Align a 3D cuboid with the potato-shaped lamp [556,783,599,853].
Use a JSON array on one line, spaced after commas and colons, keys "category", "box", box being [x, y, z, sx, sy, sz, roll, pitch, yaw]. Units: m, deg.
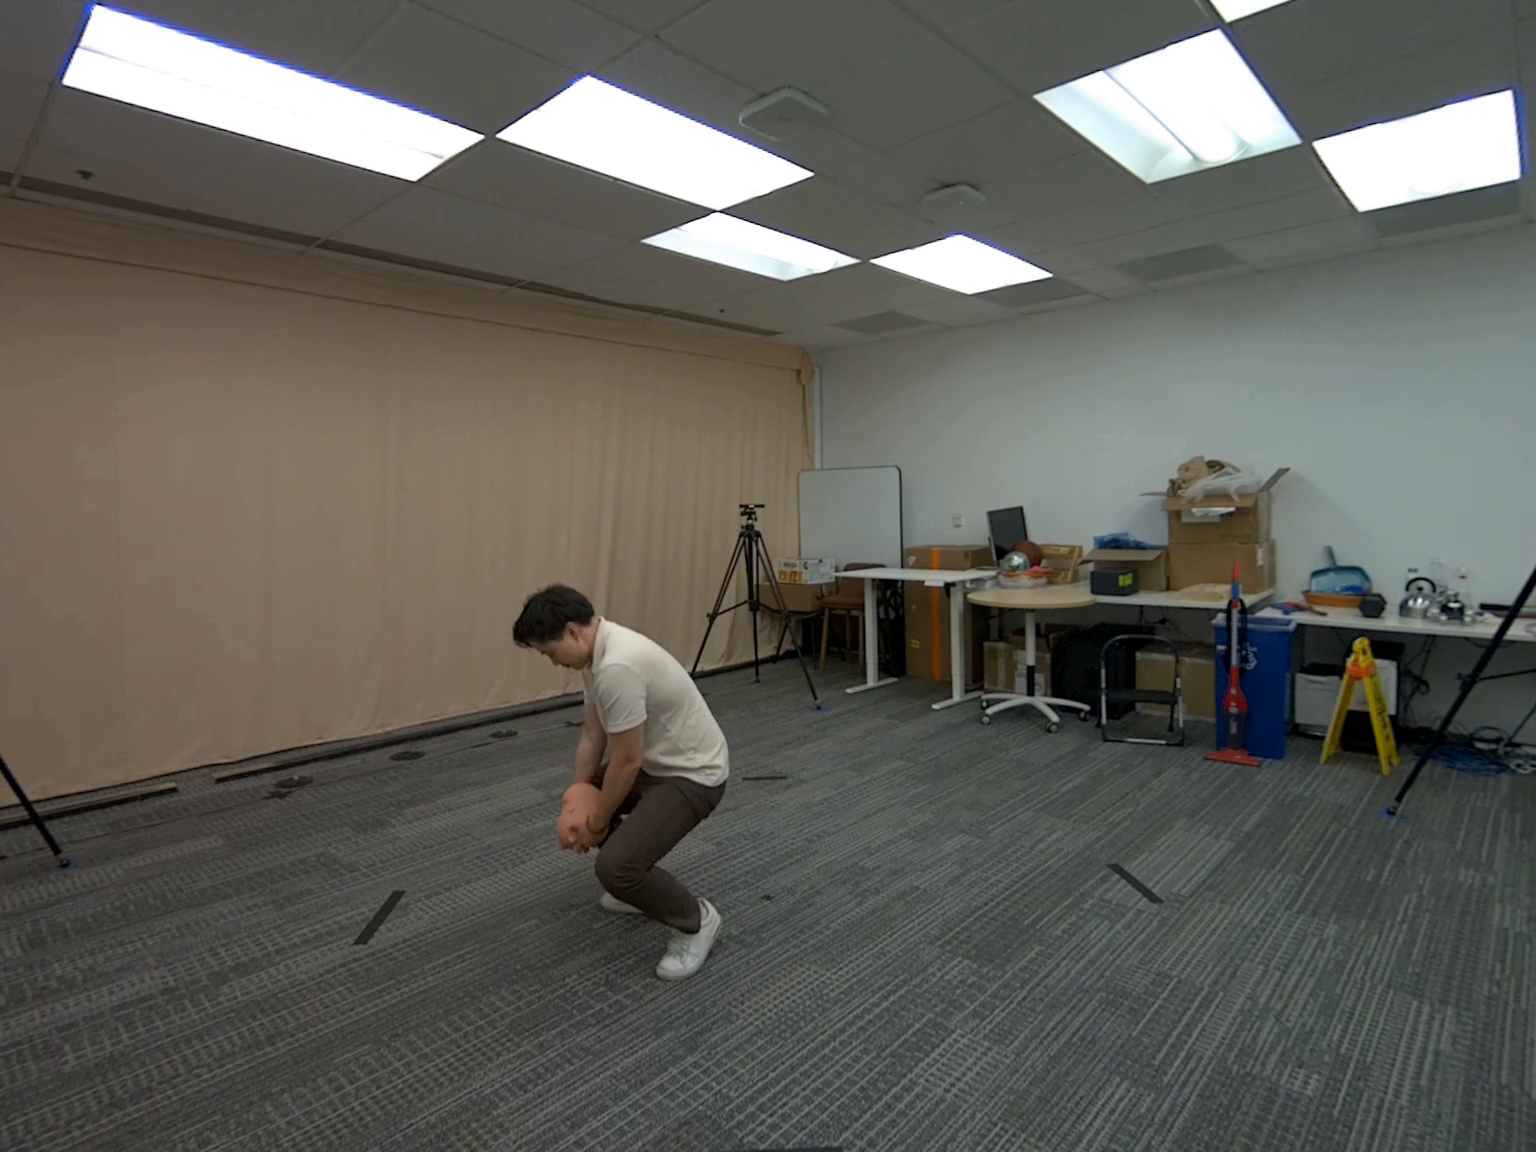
[{"category": "potato-shaped lamp", "box": [-0.601, 0.775, 2.751, 0.167, 0.202, 0.165, -4, -25, -25]}]
